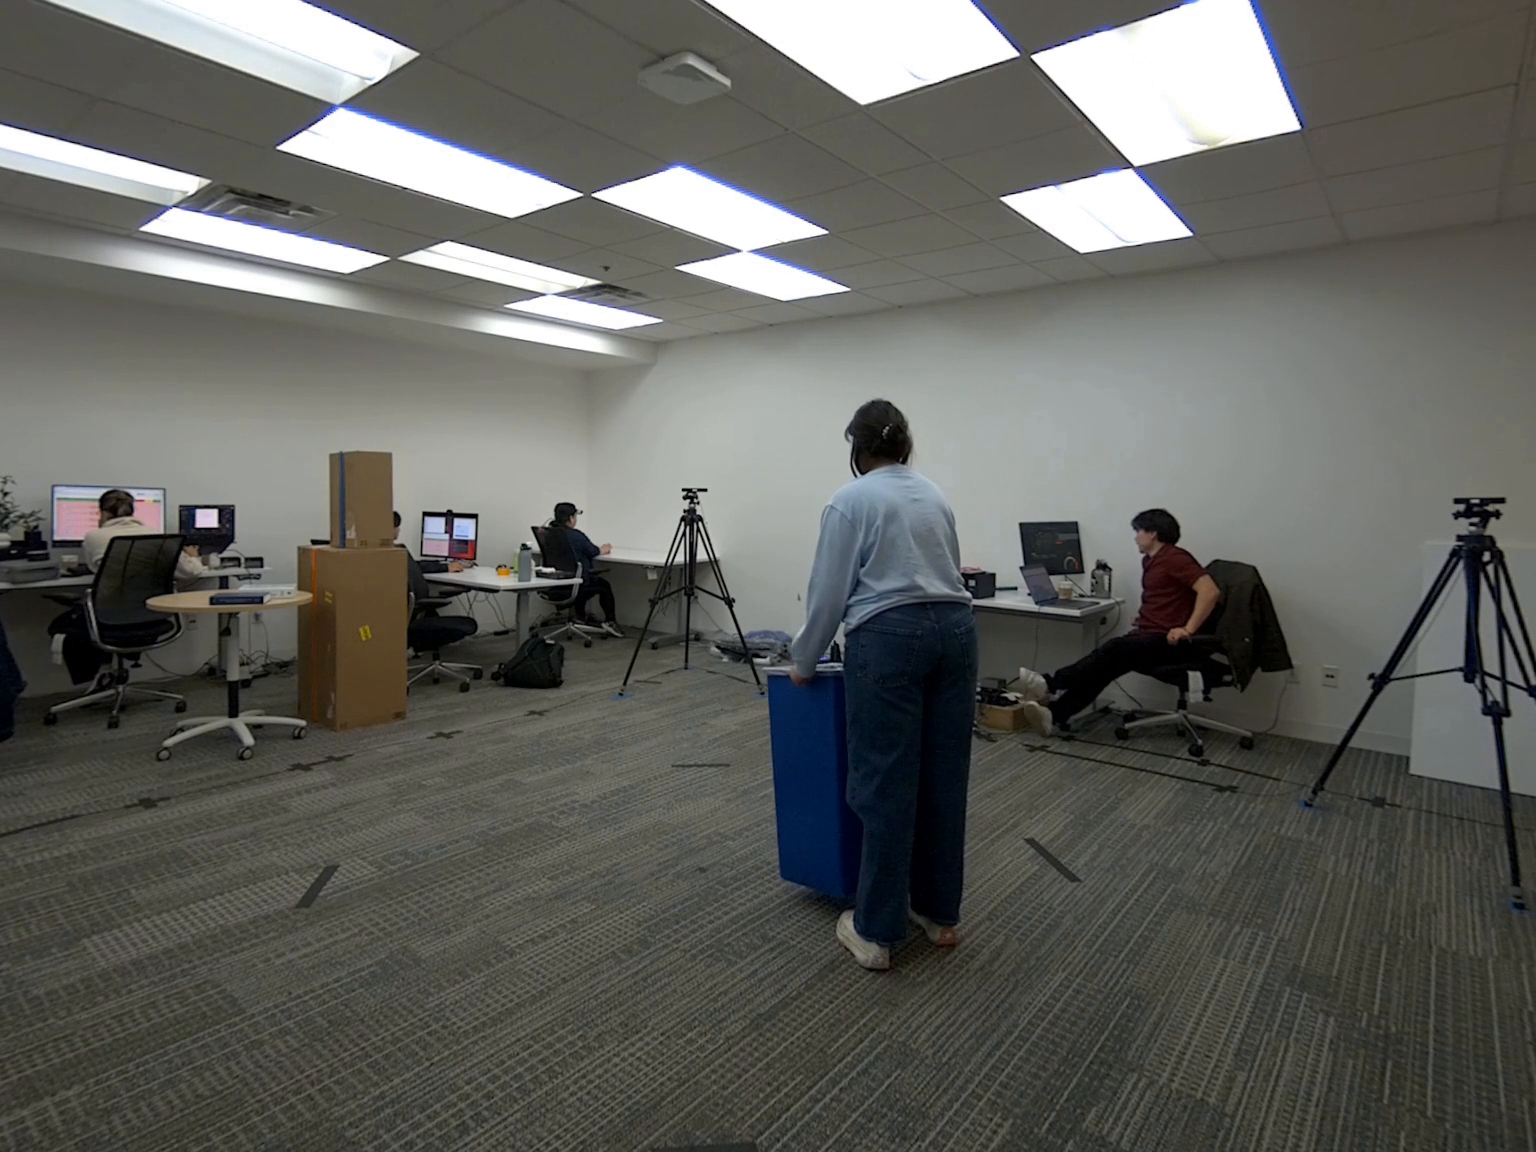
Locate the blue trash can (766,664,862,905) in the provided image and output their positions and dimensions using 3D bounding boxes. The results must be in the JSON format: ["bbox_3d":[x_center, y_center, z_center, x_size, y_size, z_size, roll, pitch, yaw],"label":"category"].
[{"bbox_3d":[0.220,0.669,2.932,0.366,0.718,0.384,3,-7,-39],"label":"blue trash can"}]
